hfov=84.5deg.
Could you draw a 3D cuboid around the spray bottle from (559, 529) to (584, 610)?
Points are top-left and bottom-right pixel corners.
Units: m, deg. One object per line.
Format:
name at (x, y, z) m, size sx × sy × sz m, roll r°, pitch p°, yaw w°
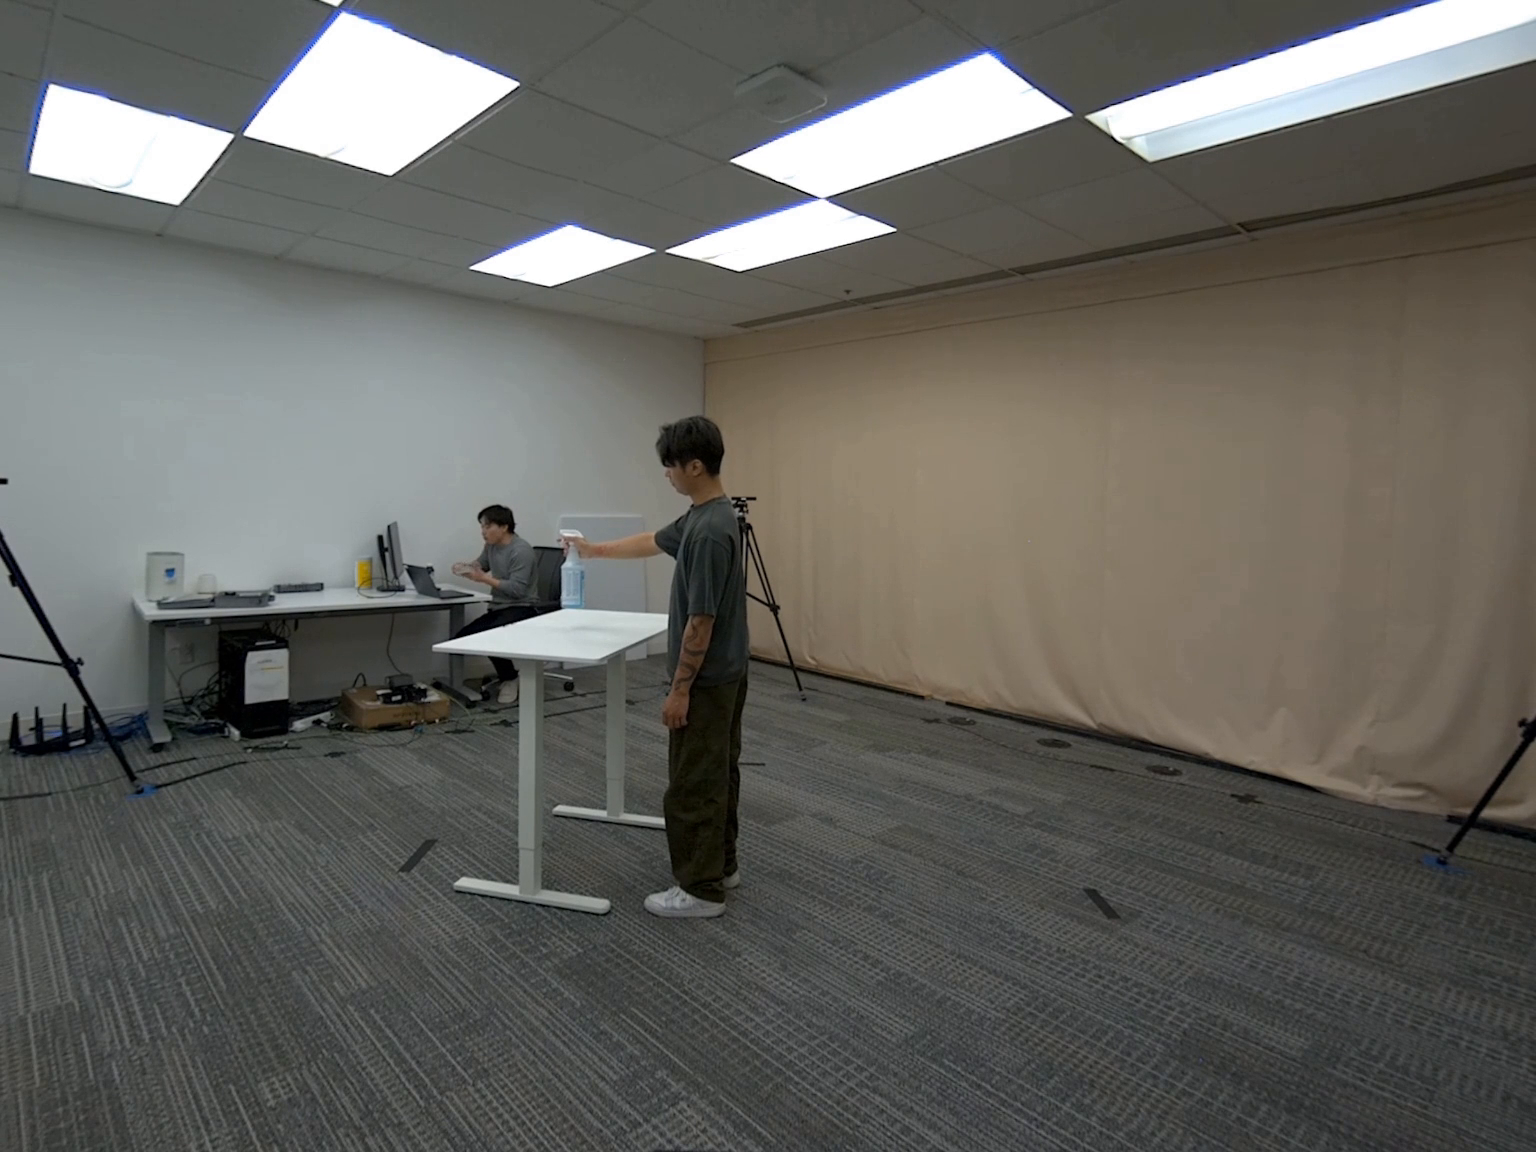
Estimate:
spray bottle at (-0.751, -0.026, 3.208) m, size 0.092 × 0.297 × 0.085 m, roll 2°, pitch 4°, yaw 29°
